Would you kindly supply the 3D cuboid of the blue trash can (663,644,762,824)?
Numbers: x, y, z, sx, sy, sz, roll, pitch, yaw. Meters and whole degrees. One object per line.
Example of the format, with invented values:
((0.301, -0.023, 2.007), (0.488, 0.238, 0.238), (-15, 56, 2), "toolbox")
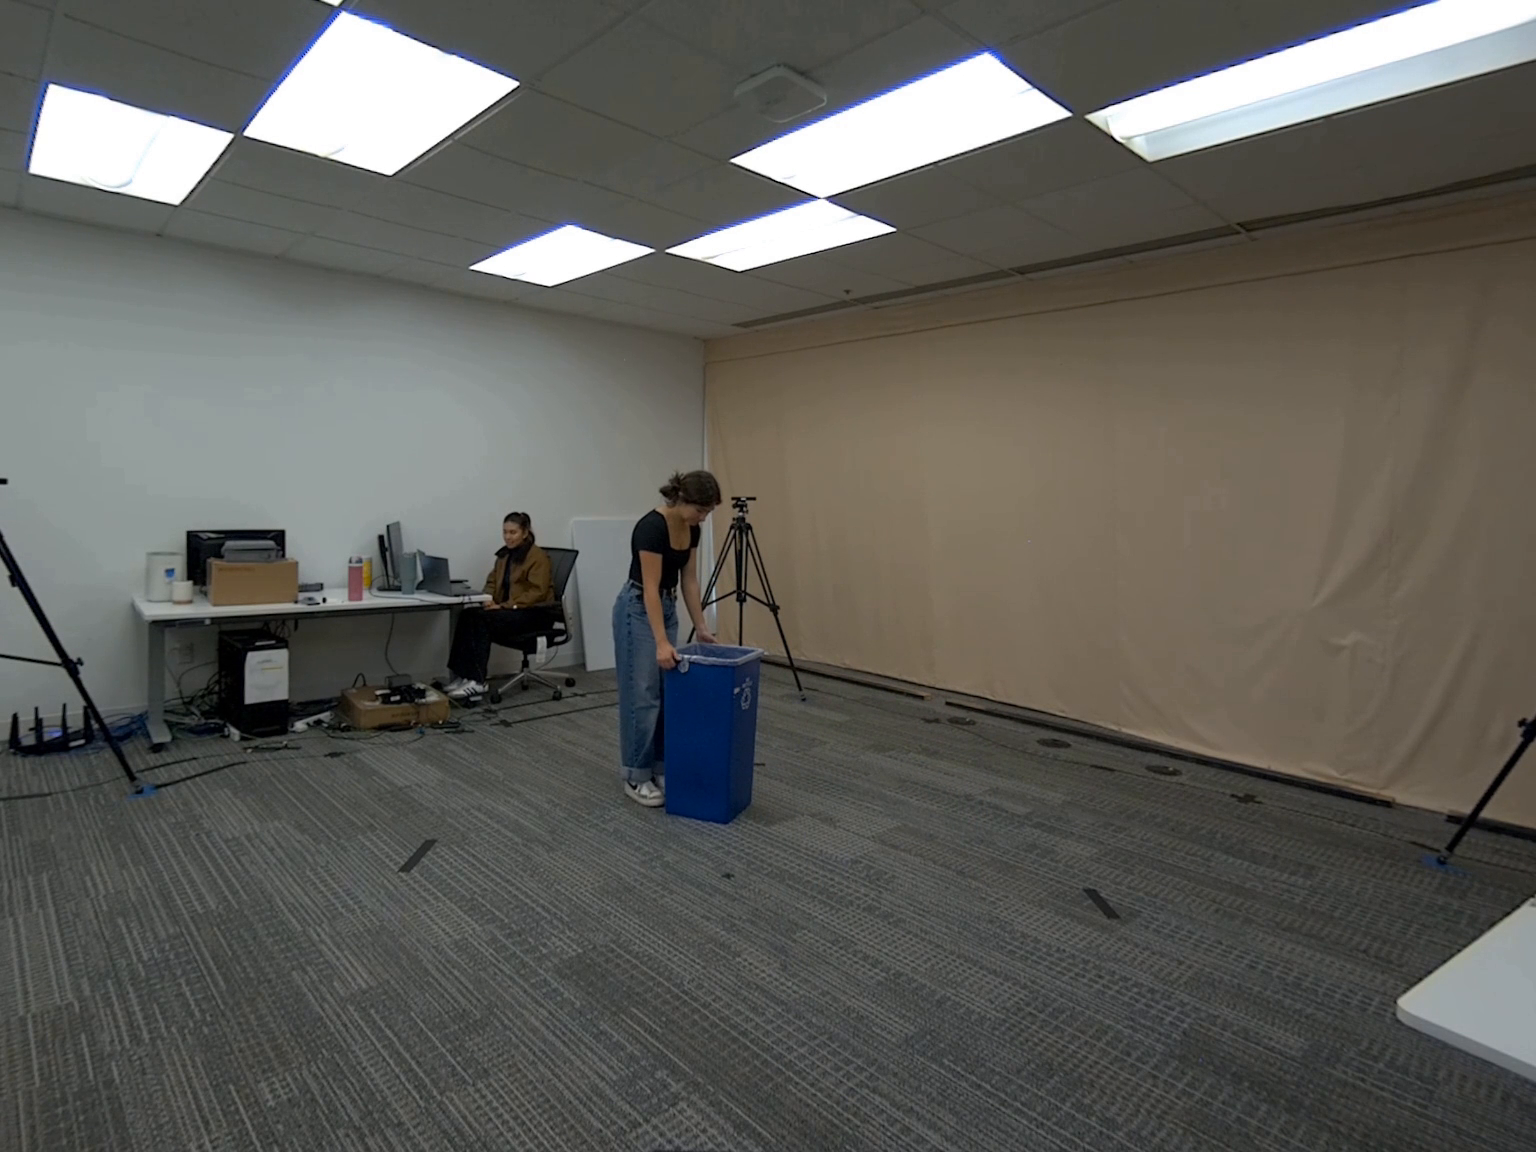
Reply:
((-0.263, 0.689, 3.781), (0.384, 0.712, 0.368), (3, 4, 21), "blue trash can")
